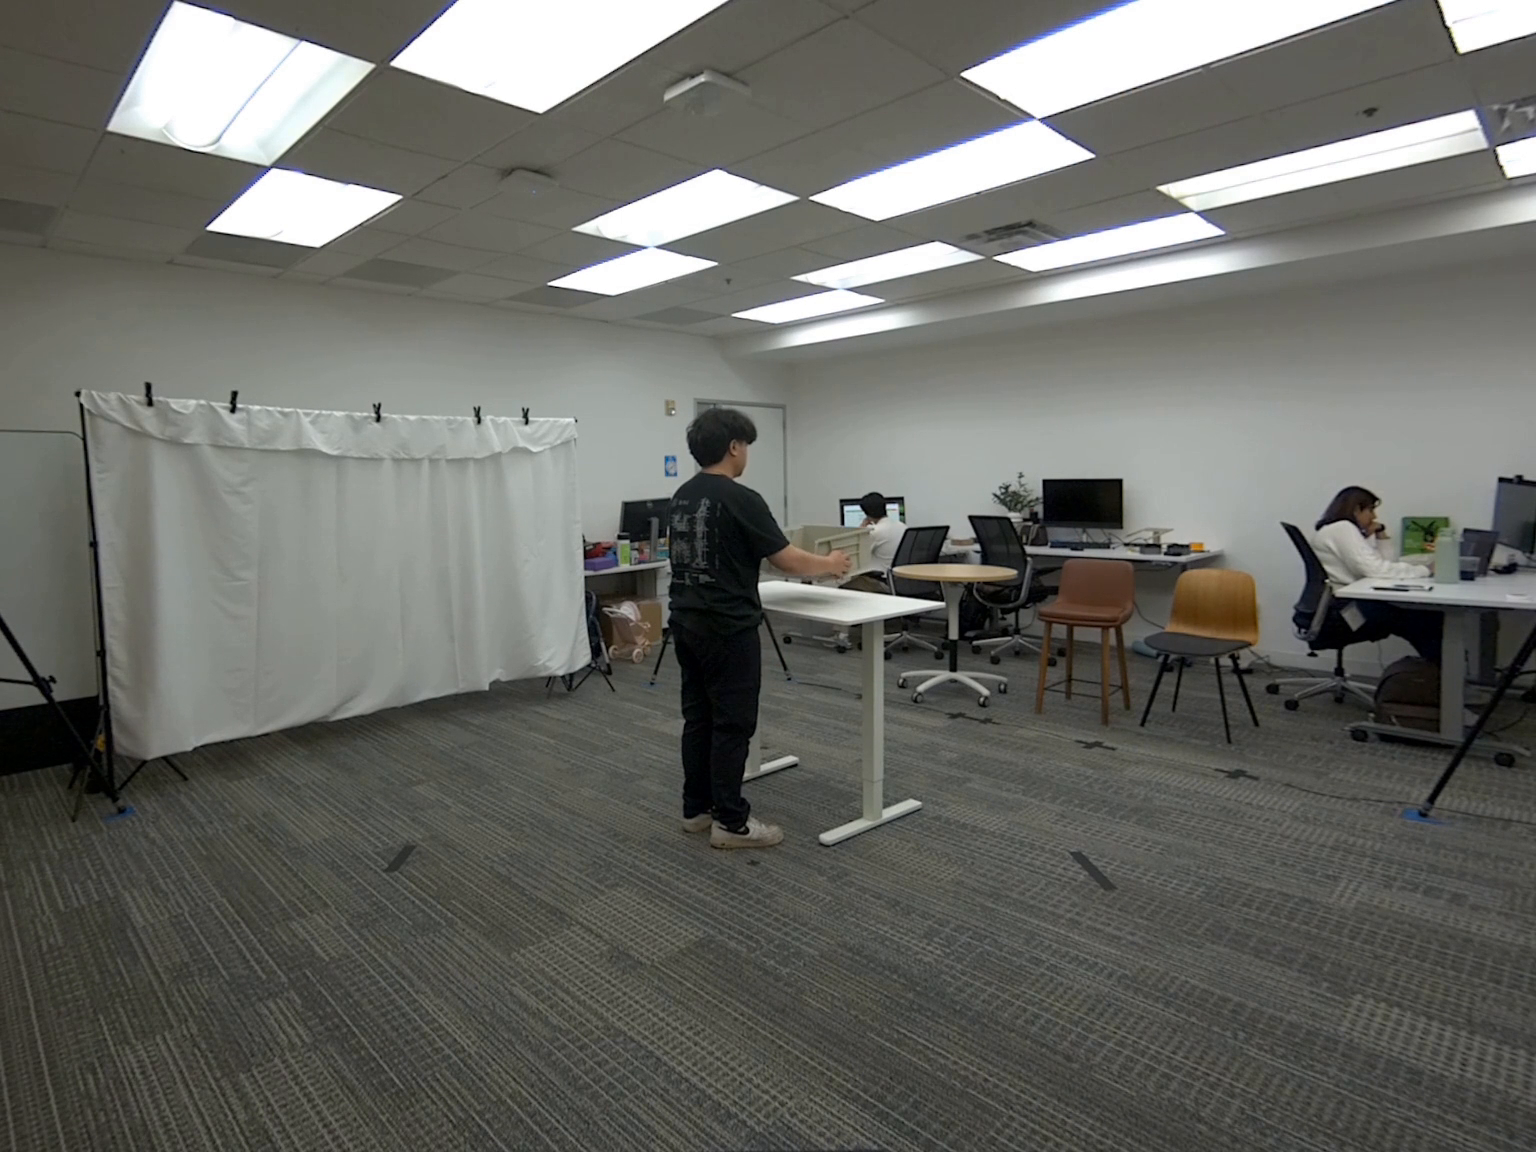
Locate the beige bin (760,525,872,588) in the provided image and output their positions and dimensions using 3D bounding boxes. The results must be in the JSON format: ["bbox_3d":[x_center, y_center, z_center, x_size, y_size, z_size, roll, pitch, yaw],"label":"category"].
[{"bbox_3d":[0.168,-0.095,3.619,0.369,0.187,0.435,-12,11,-39],"label":"beige bin"}]
